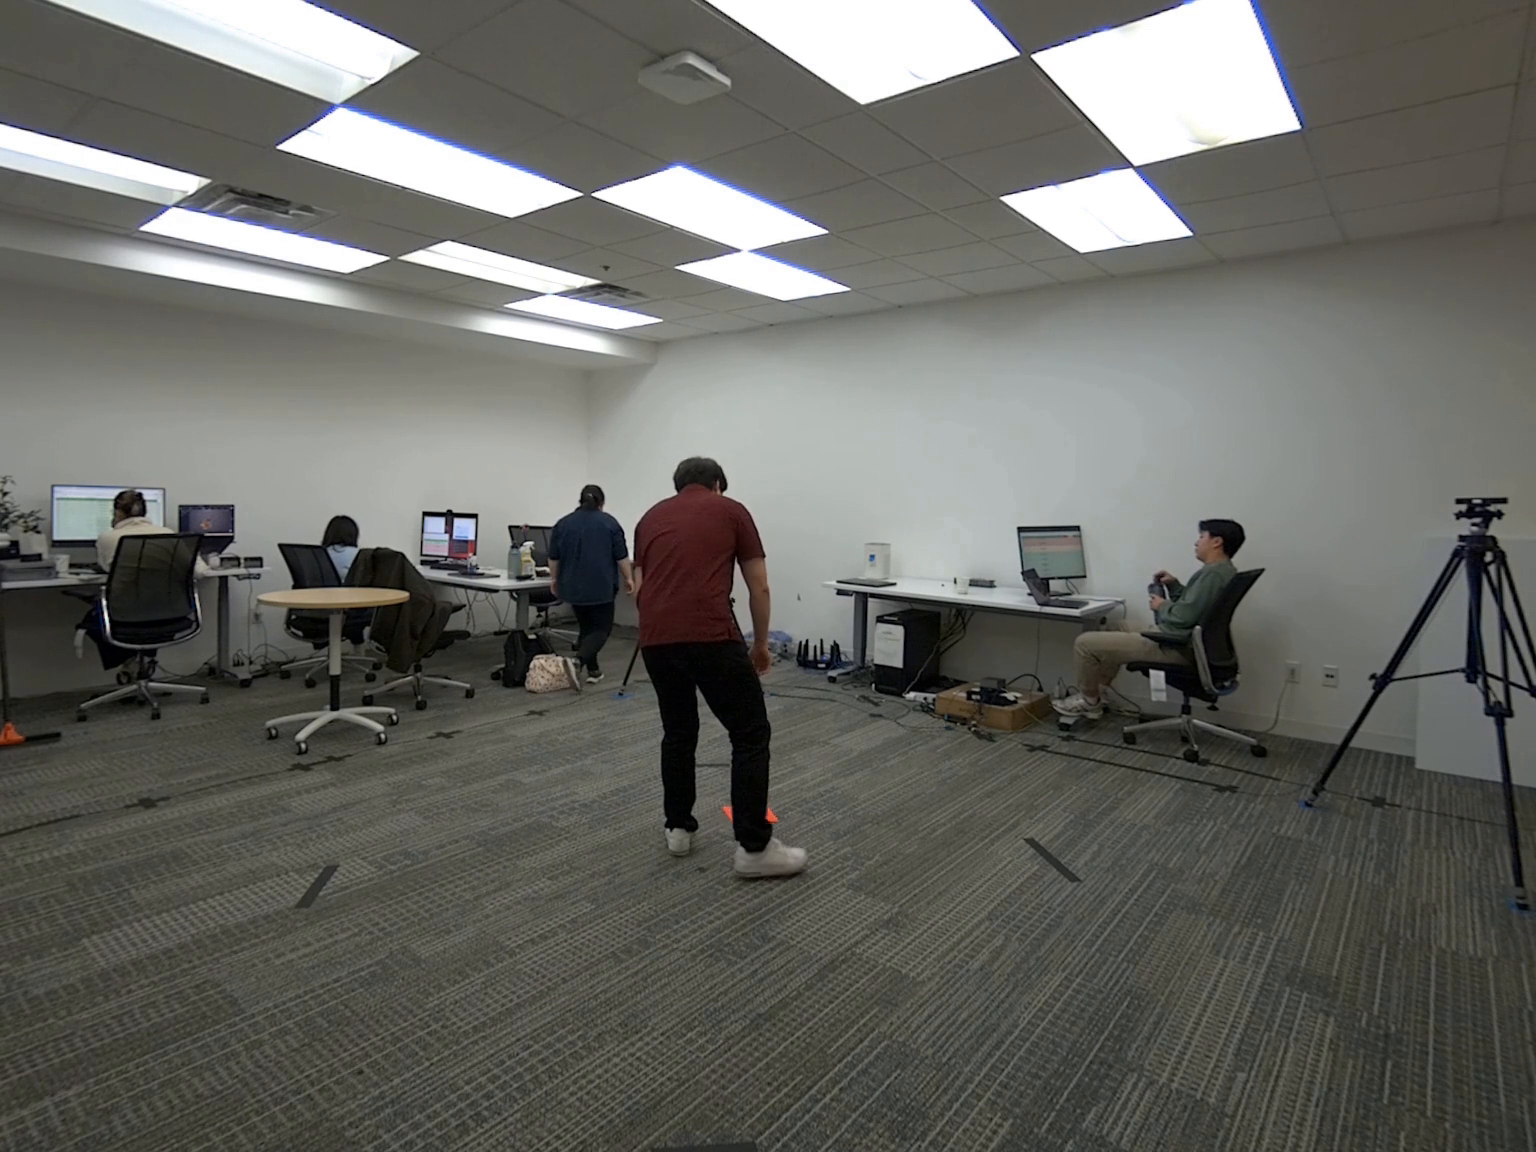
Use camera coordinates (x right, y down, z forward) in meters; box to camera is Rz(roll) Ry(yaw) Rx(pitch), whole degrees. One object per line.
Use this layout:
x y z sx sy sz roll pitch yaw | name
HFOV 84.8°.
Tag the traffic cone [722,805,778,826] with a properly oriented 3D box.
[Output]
-0.088 0.831 3.650 0.200 0.383 0.209 0 2 -16 | traffic cone
